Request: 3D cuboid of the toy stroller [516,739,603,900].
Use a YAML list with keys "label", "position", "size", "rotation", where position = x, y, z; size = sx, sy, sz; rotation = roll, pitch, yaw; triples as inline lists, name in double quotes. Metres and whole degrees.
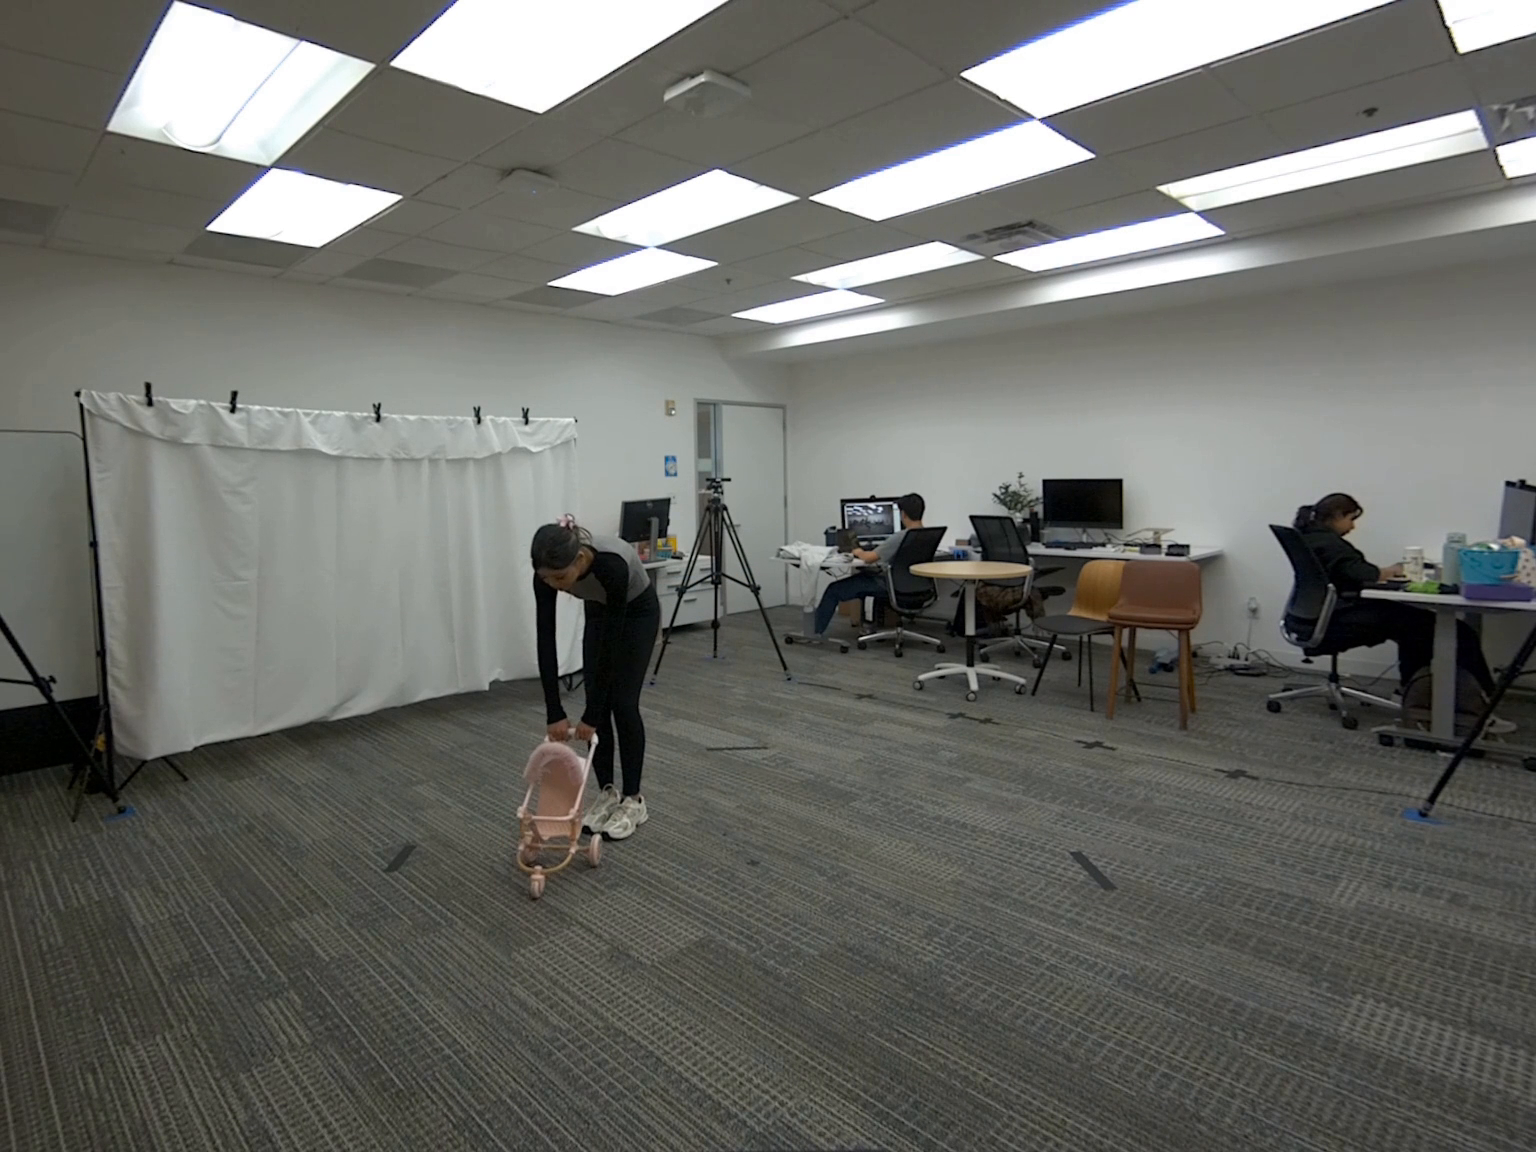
- label: "toy stroller"
  position: [-0.762, 0.836, 3.034]
  size: [0.285, 0.539, 0.335]
  rotation: [0, -8, 12]
